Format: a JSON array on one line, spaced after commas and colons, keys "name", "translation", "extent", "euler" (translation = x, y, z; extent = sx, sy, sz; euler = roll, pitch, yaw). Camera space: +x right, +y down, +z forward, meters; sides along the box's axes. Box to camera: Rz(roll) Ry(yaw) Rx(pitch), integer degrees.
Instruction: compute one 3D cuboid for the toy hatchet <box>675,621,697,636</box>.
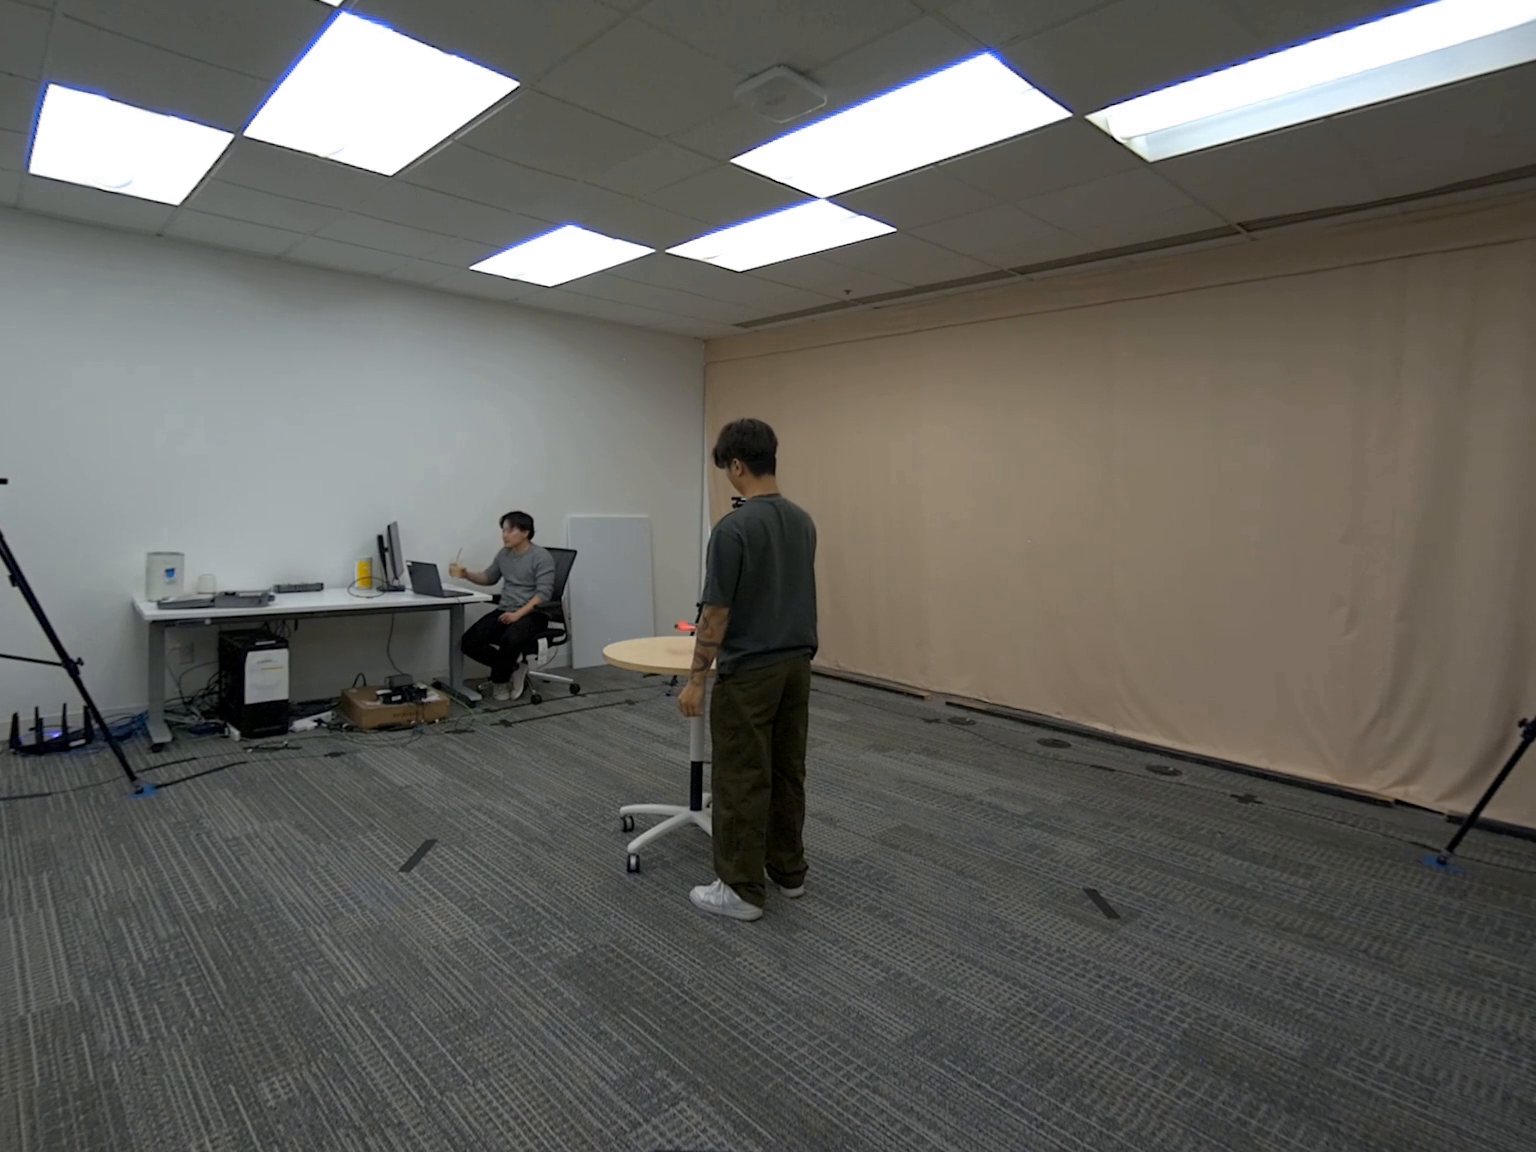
[{"name": "toy hatchet", "translation": [-0.243, 0.196, 3.314], "extent": [0.272, 0.029, 0.130], "euler": [3, 6, 11]}]
